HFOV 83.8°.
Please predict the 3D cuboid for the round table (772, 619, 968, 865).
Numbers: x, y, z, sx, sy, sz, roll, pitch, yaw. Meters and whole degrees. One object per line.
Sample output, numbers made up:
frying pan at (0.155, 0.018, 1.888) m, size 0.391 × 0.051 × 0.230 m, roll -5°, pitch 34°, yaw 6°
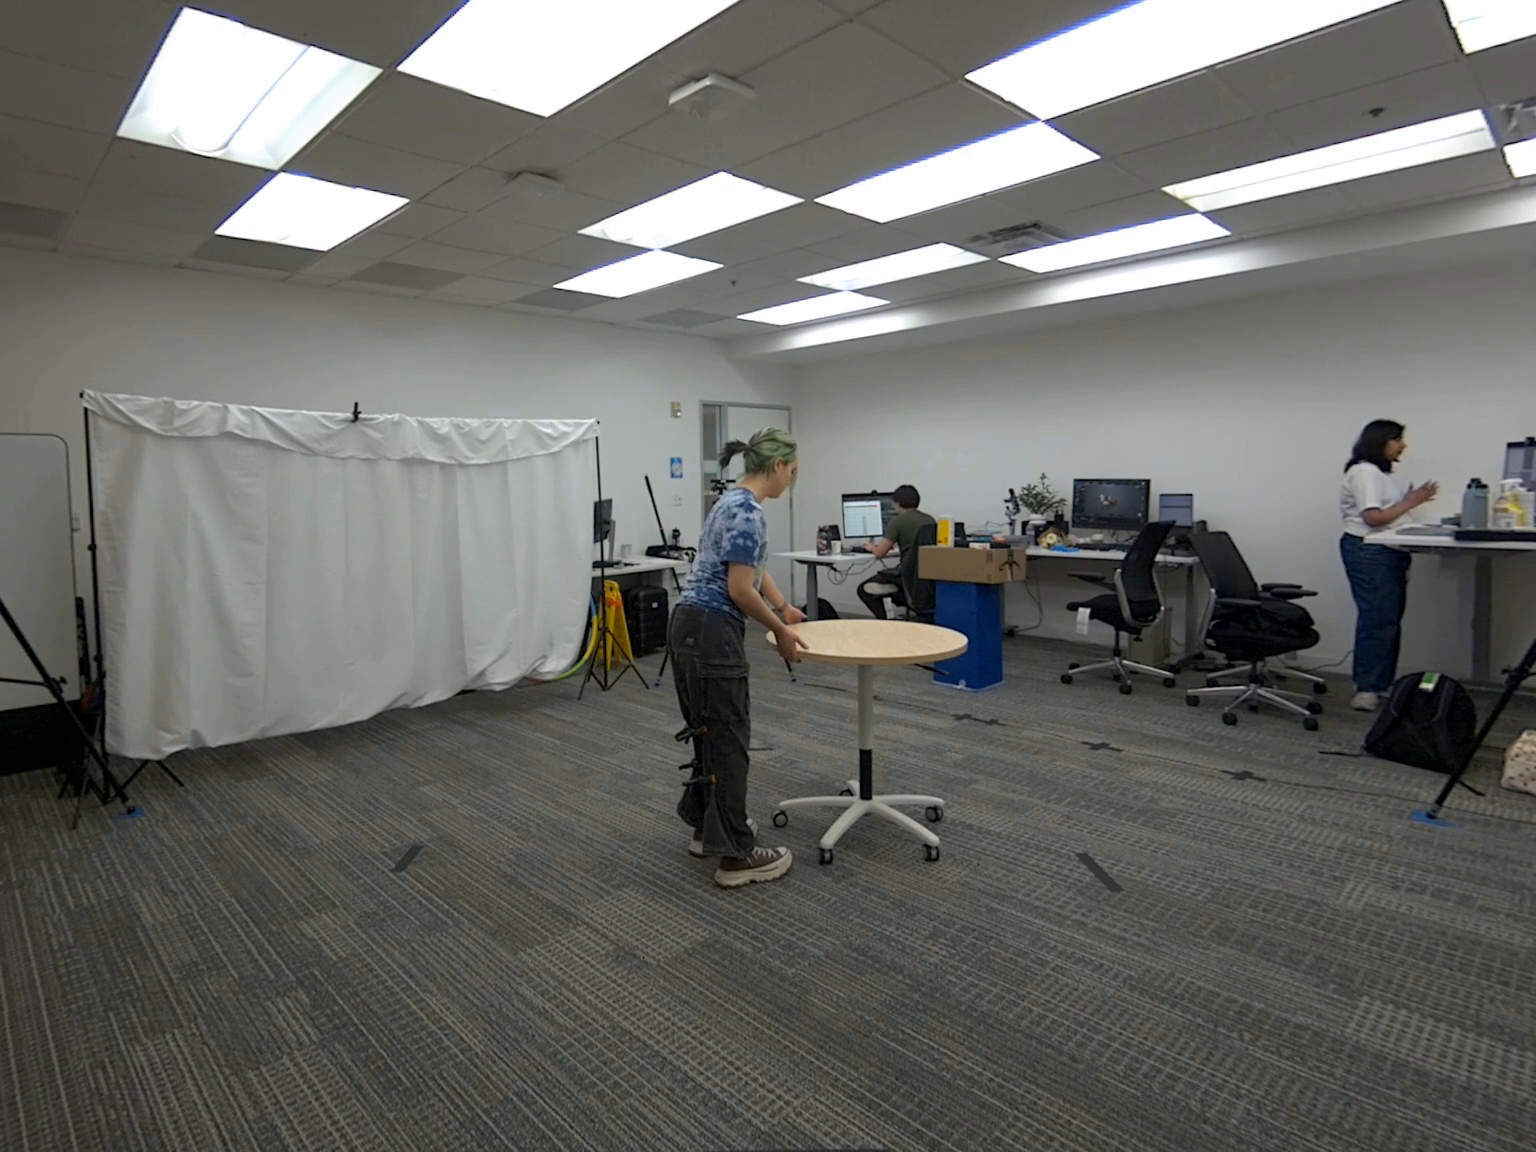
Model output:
round table at (0.384, 0.625, 3.341) m, size 0.763 × 0.791 × 0.768 m, roll -1°, pitch 5°, yaw -2°
